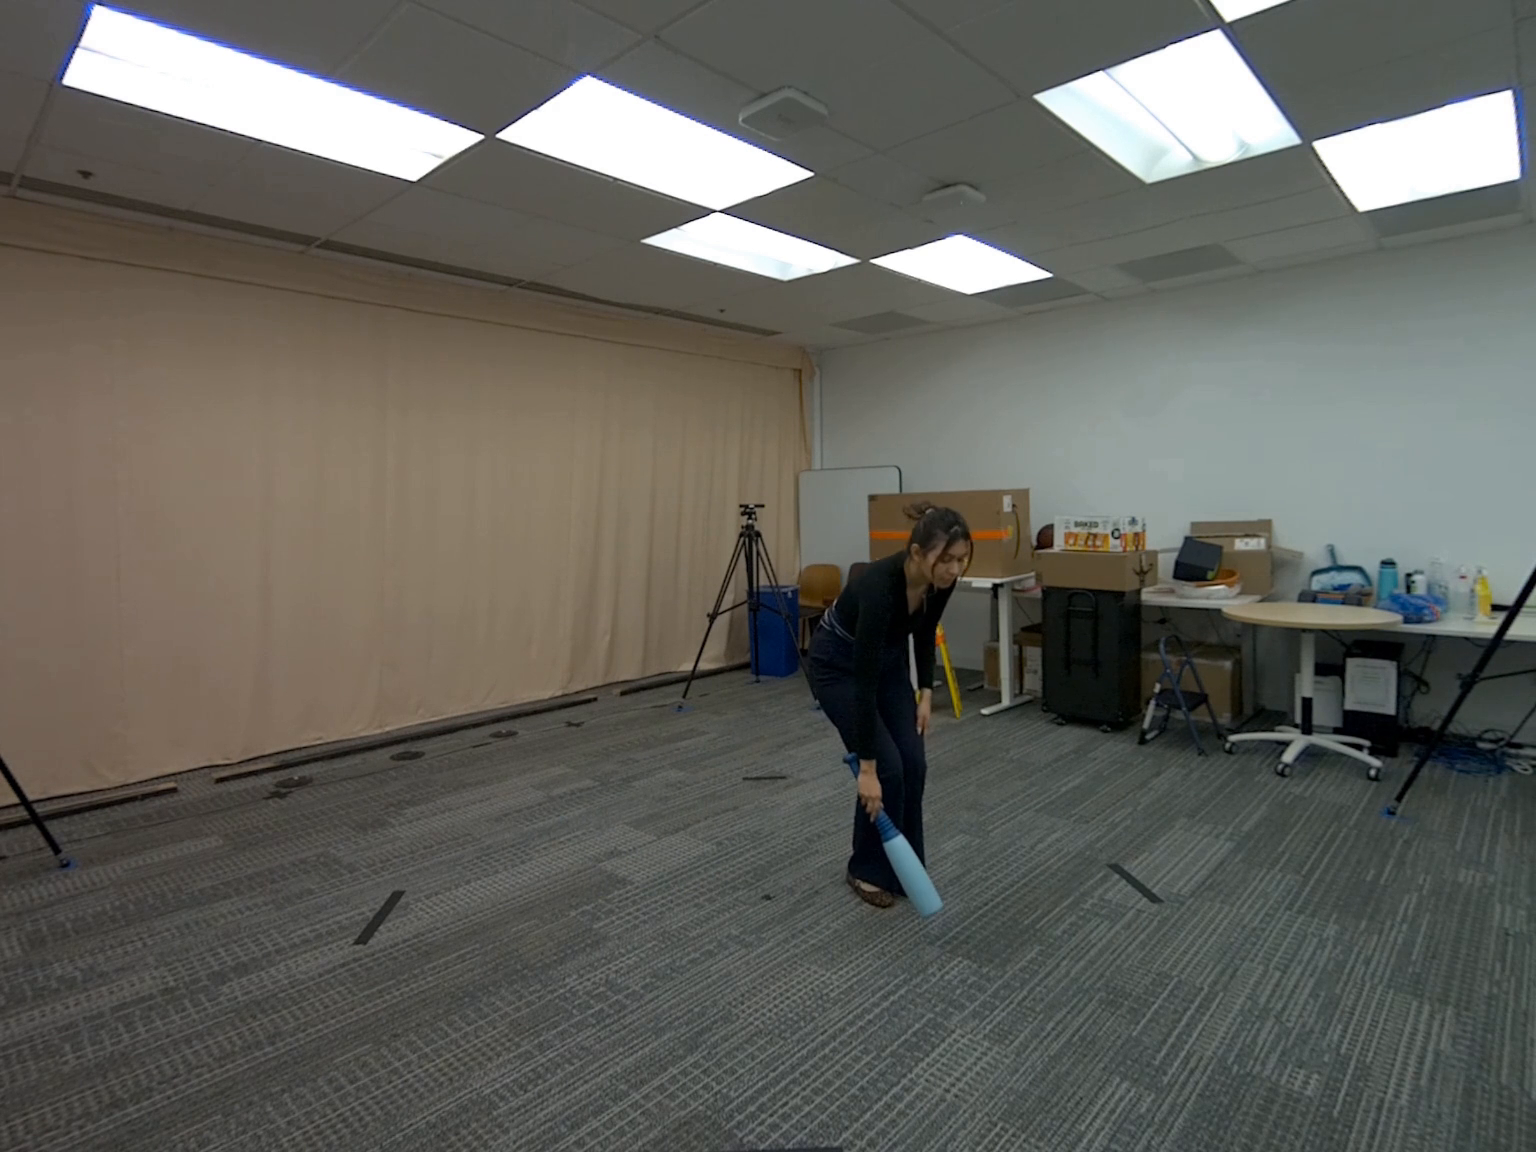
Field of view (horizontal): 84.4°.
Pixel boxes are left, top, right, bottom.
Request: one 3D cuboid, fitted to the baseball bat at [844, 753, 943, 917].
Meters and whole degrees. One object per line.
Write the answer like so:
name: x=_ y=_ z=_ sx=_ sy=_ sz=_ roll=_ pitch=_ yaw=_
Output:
baseball bat: x=0.393 y=0.823 z=2.724 sx=0.088 sy=0.553 sz=0.088 roll=-27 pitch=-18 yaw=-10
